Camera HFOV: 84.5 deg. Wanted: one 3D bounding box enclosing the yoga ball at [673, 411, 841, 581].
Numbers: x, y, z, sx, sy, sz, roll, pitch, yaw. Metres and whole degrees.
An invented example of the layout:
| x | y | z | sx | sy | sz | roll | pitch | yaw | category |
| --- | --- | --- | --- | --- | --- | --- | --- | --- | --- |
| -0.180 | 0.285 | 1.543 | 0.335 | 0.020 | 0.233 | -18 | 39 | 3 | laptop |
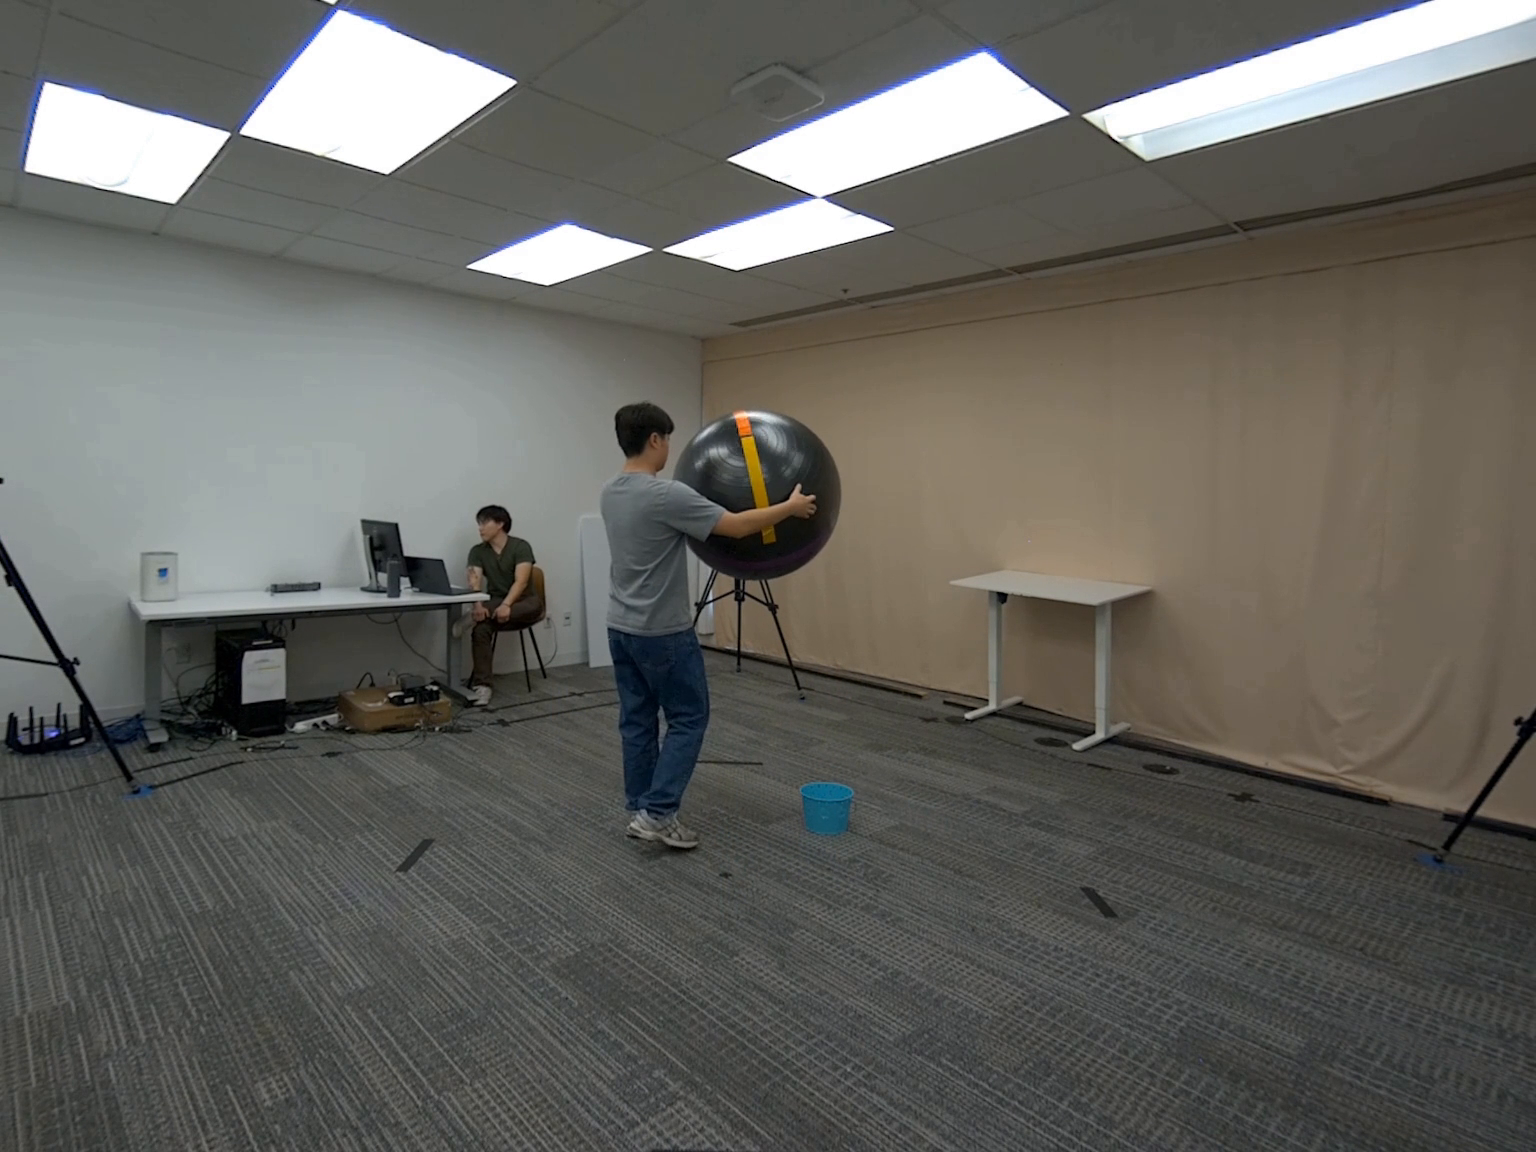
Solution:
| x | y | z | sx | sy | sz | roll | pitch | yaw | category |
| --- | --- | --- | --- | --- | --- | --- | --- | --- | --- |
| -0.056 | -0.358 | 3.762 | 0.757 | 0.756 | 0.761 | 1 | 4 | -1 | yoga ball |
